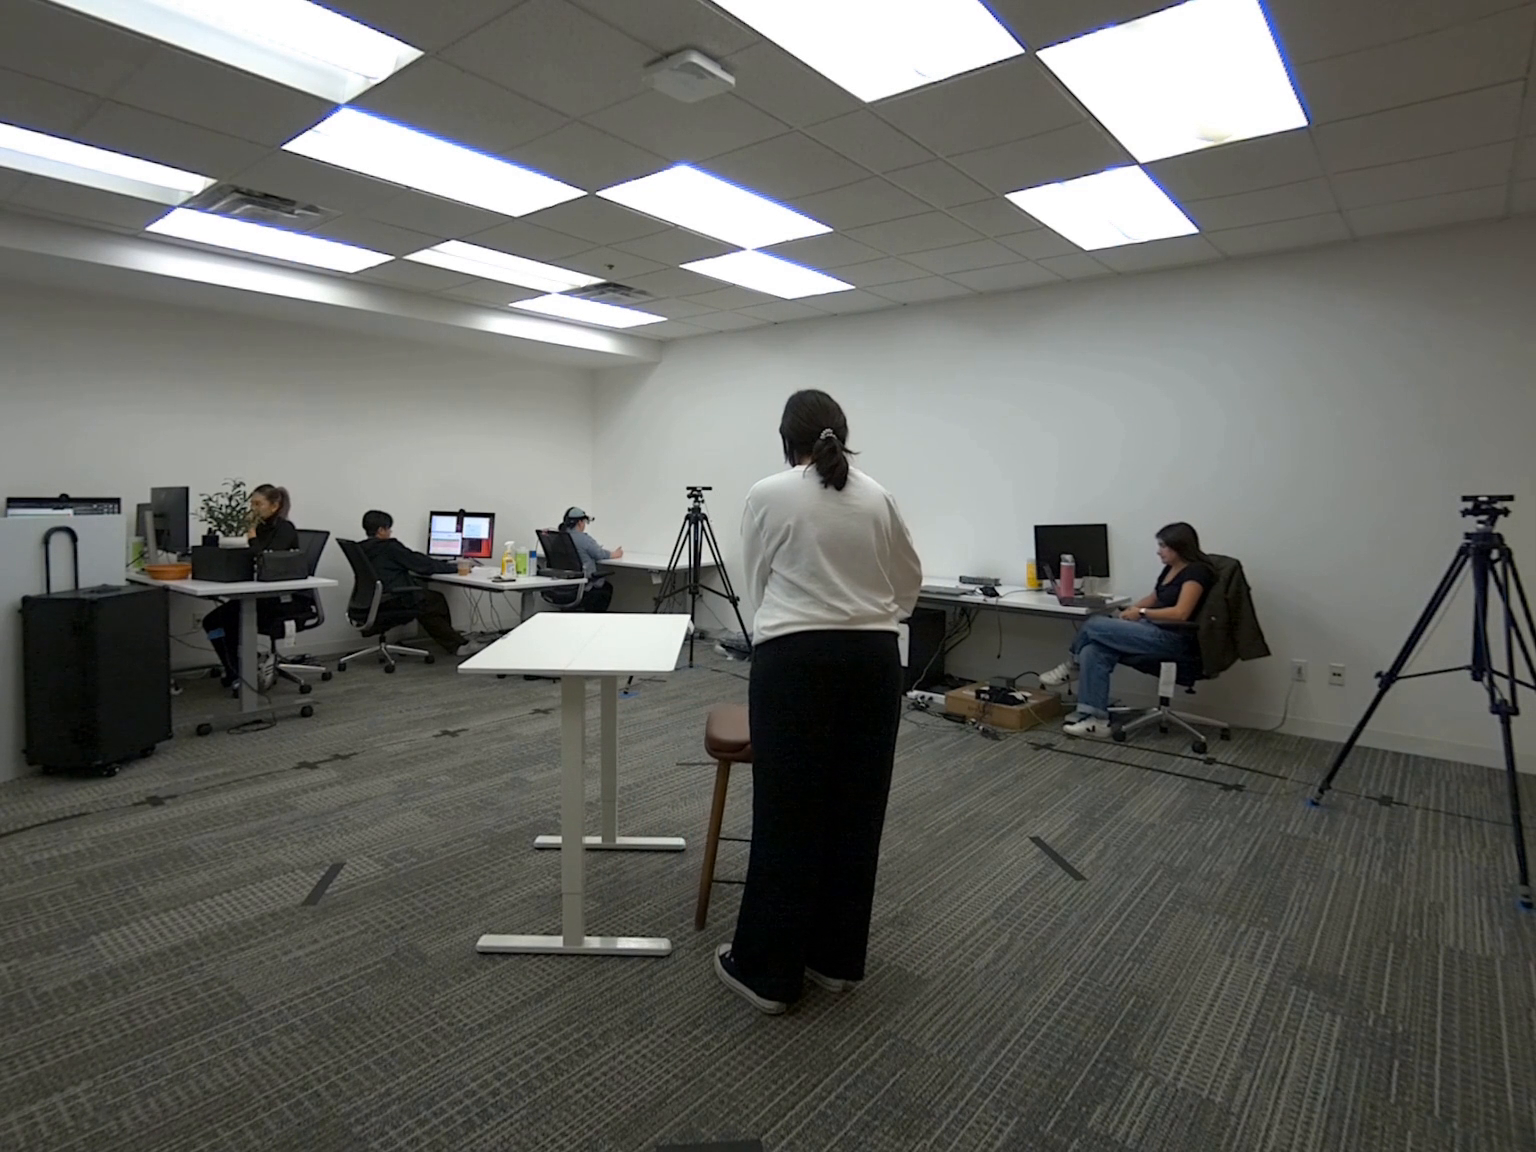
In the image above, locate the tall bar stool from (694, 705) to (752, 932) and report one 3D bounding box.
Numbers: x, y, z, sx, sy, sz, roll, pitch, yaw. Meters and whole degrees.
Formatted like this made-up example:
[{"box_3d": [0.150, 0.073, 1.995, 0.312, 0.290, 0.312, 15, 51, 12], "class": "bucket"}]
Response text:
[{"box_3d": [0.023, 0.661, 2.833, 0.469, 0.887, 0.456, 5, 4, 2], "class": "tall bar stool"}]
